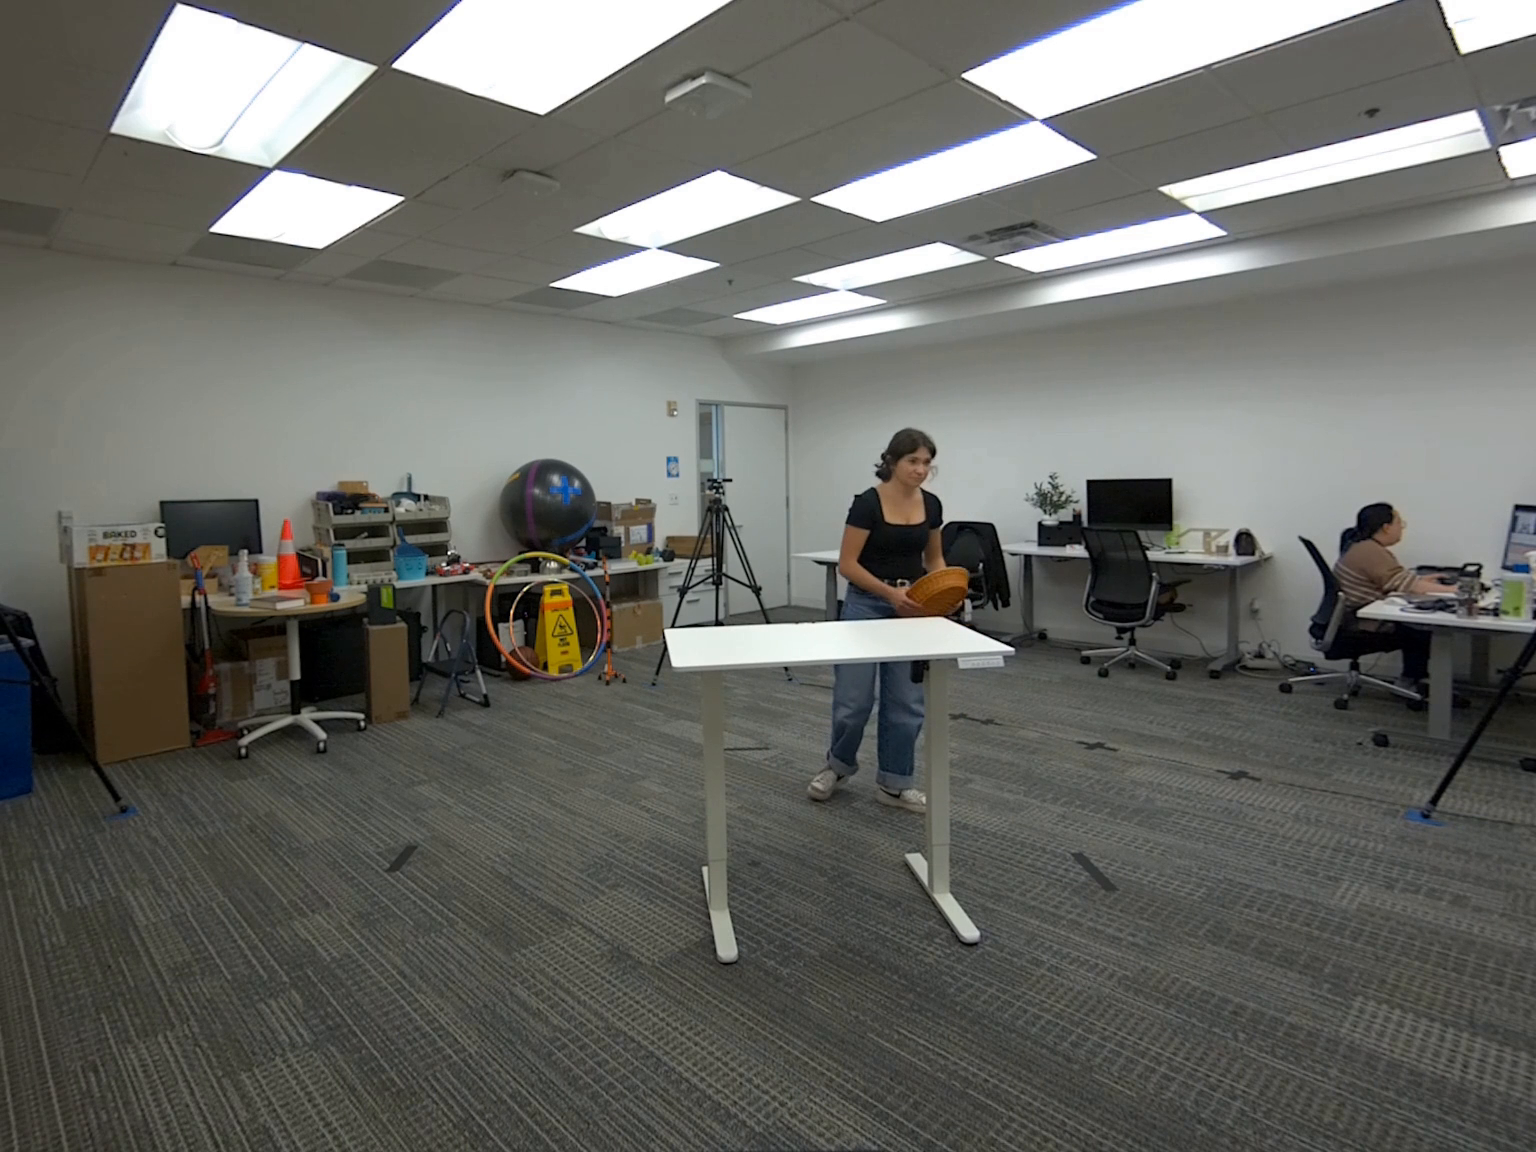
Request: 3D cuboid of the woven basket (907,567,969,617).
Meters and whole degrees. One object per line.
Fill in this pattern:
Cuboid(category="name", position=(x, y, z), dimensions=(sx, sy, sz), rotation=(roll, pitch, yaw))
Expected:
Cuboid(category="woven basket", position=(0.654, 0.093, 3.379), dimensions=(0.251, 0.076, 0.341), rotation=(-12, -31, -8))
